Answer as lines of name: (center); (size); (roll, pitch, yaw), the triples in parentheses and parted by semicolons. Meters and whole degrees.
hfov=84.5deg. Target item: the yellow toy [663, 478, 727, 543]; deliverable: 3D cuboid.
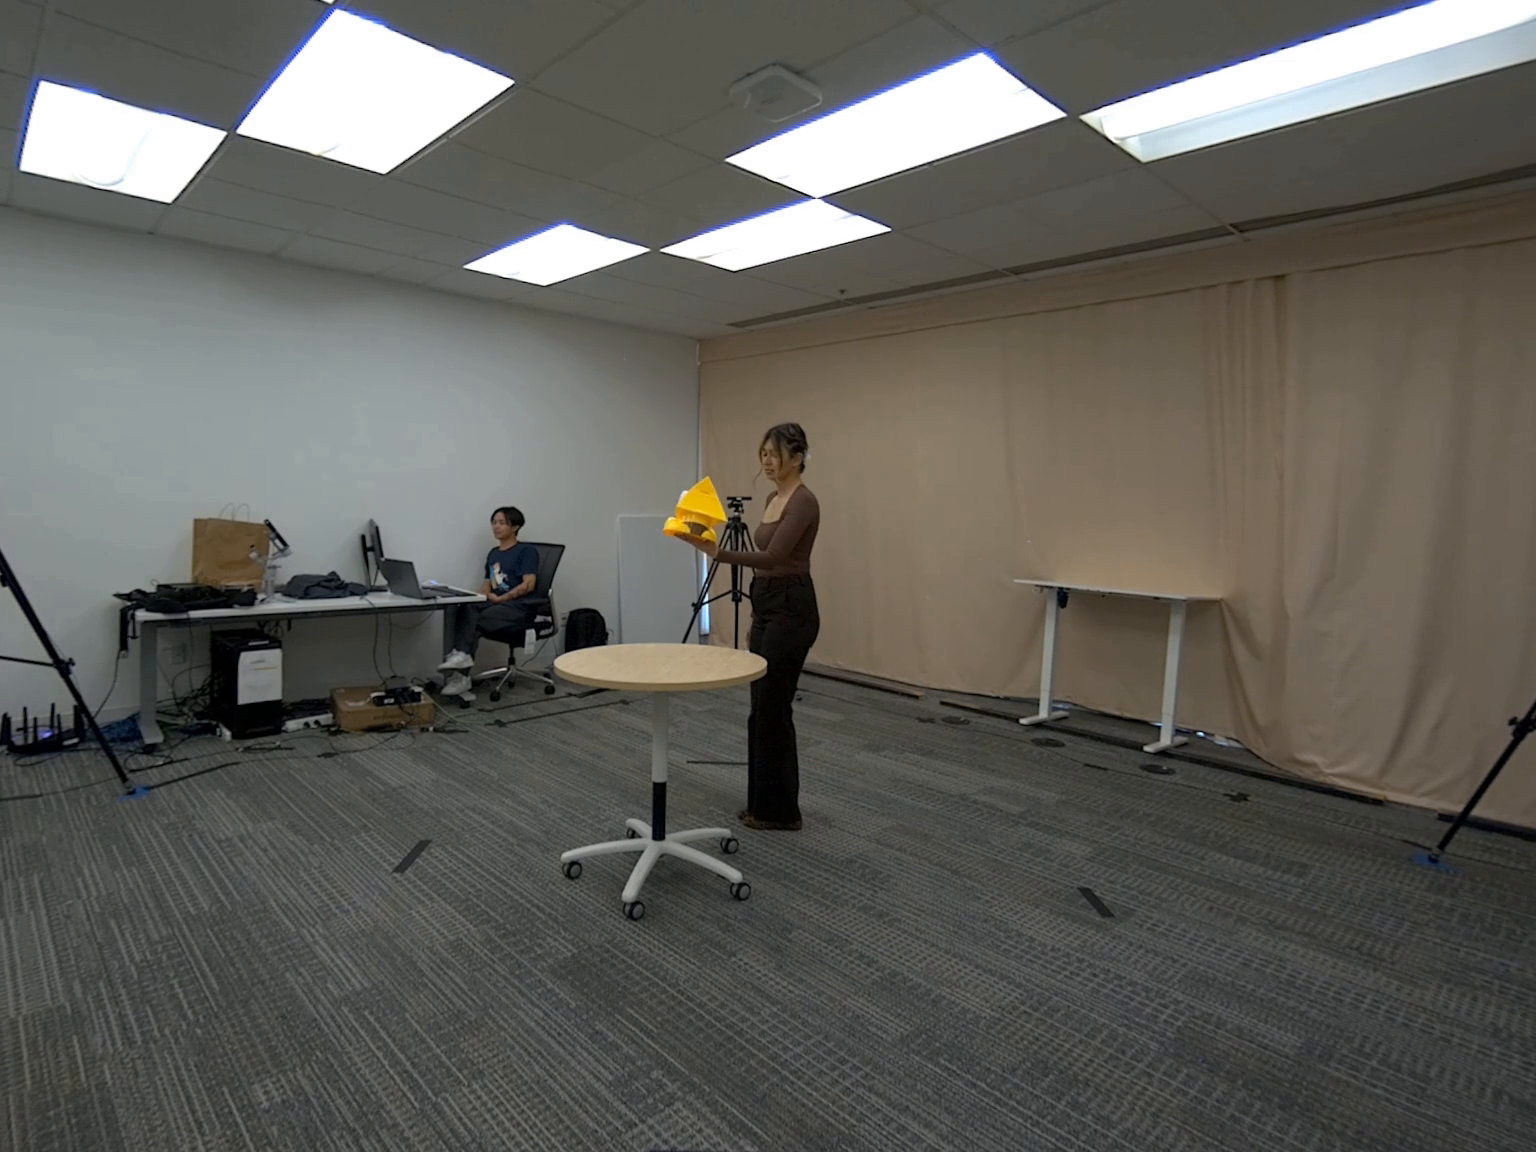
yellow toy: (-0.282, -0.257, 3.189); (0.201, 0.232, 0.195); (15, -10, -21)
